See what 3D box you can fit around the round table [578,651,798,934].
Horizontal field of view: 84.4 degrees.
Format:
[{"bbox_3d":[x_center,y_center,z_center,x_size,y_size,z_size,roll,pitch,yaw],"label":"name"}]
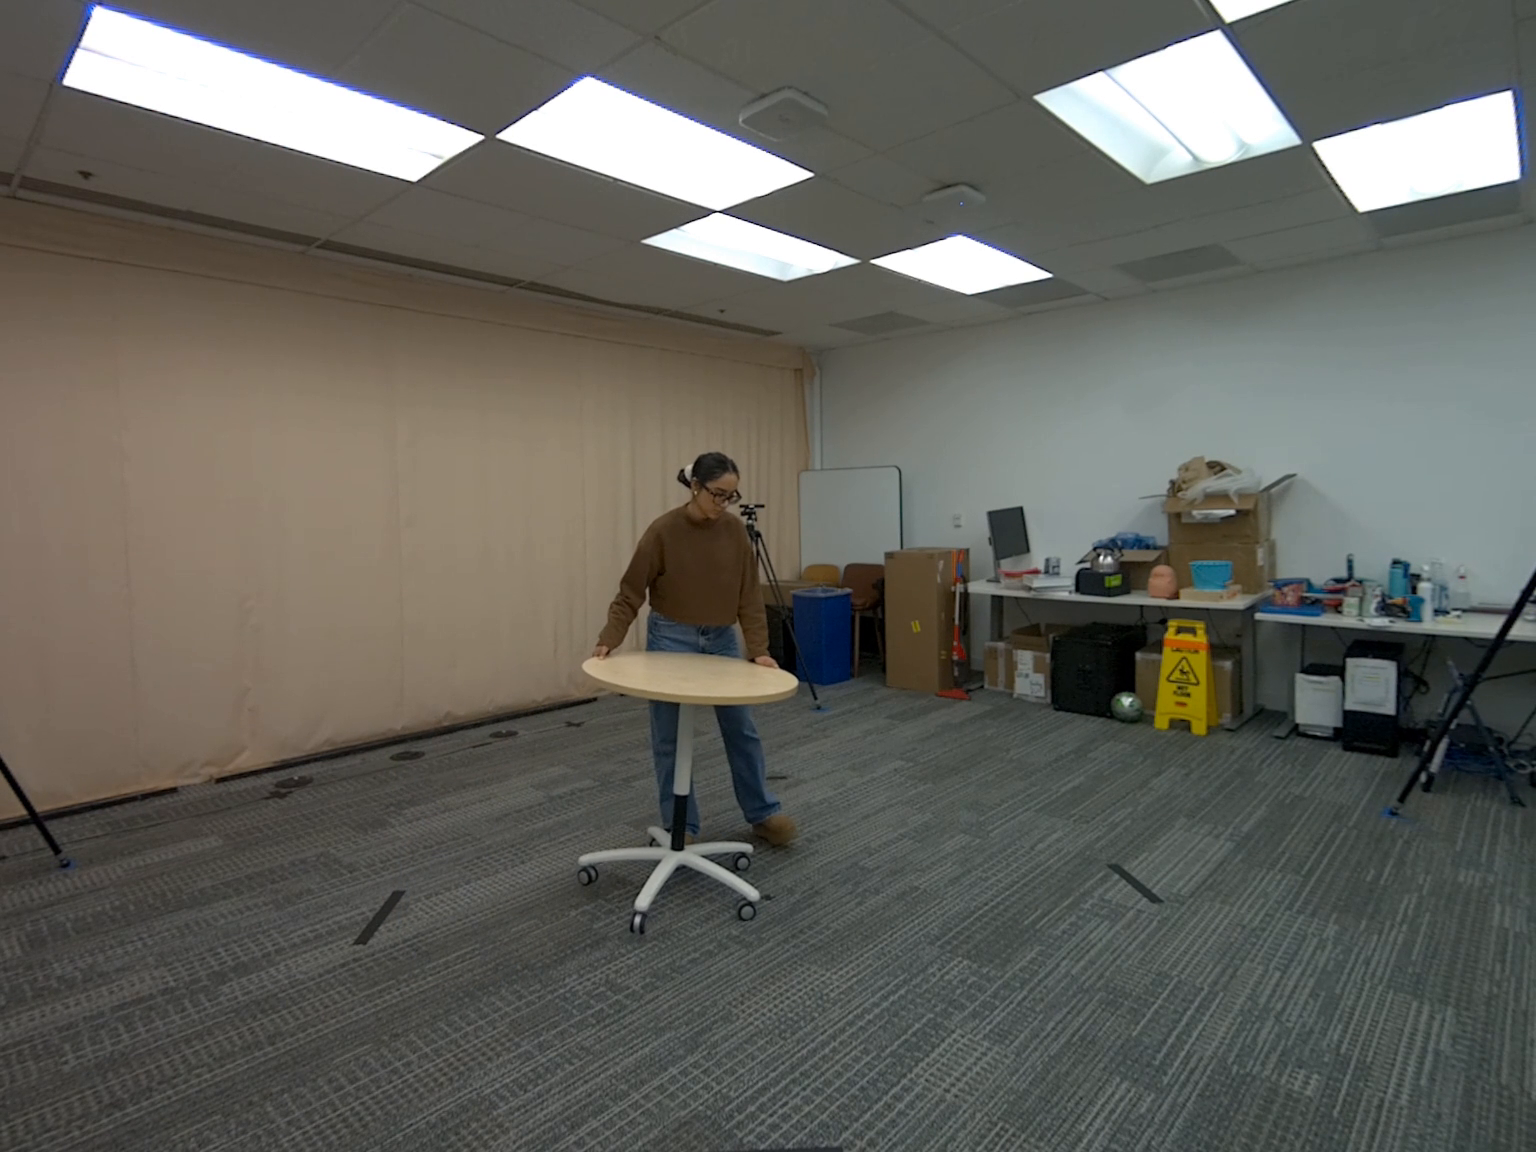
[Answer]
[{"bbox_3d":[-0.301,0.731,3.009,0.763,0.792,0.766,4,3,-2],"label":"round table"}]
